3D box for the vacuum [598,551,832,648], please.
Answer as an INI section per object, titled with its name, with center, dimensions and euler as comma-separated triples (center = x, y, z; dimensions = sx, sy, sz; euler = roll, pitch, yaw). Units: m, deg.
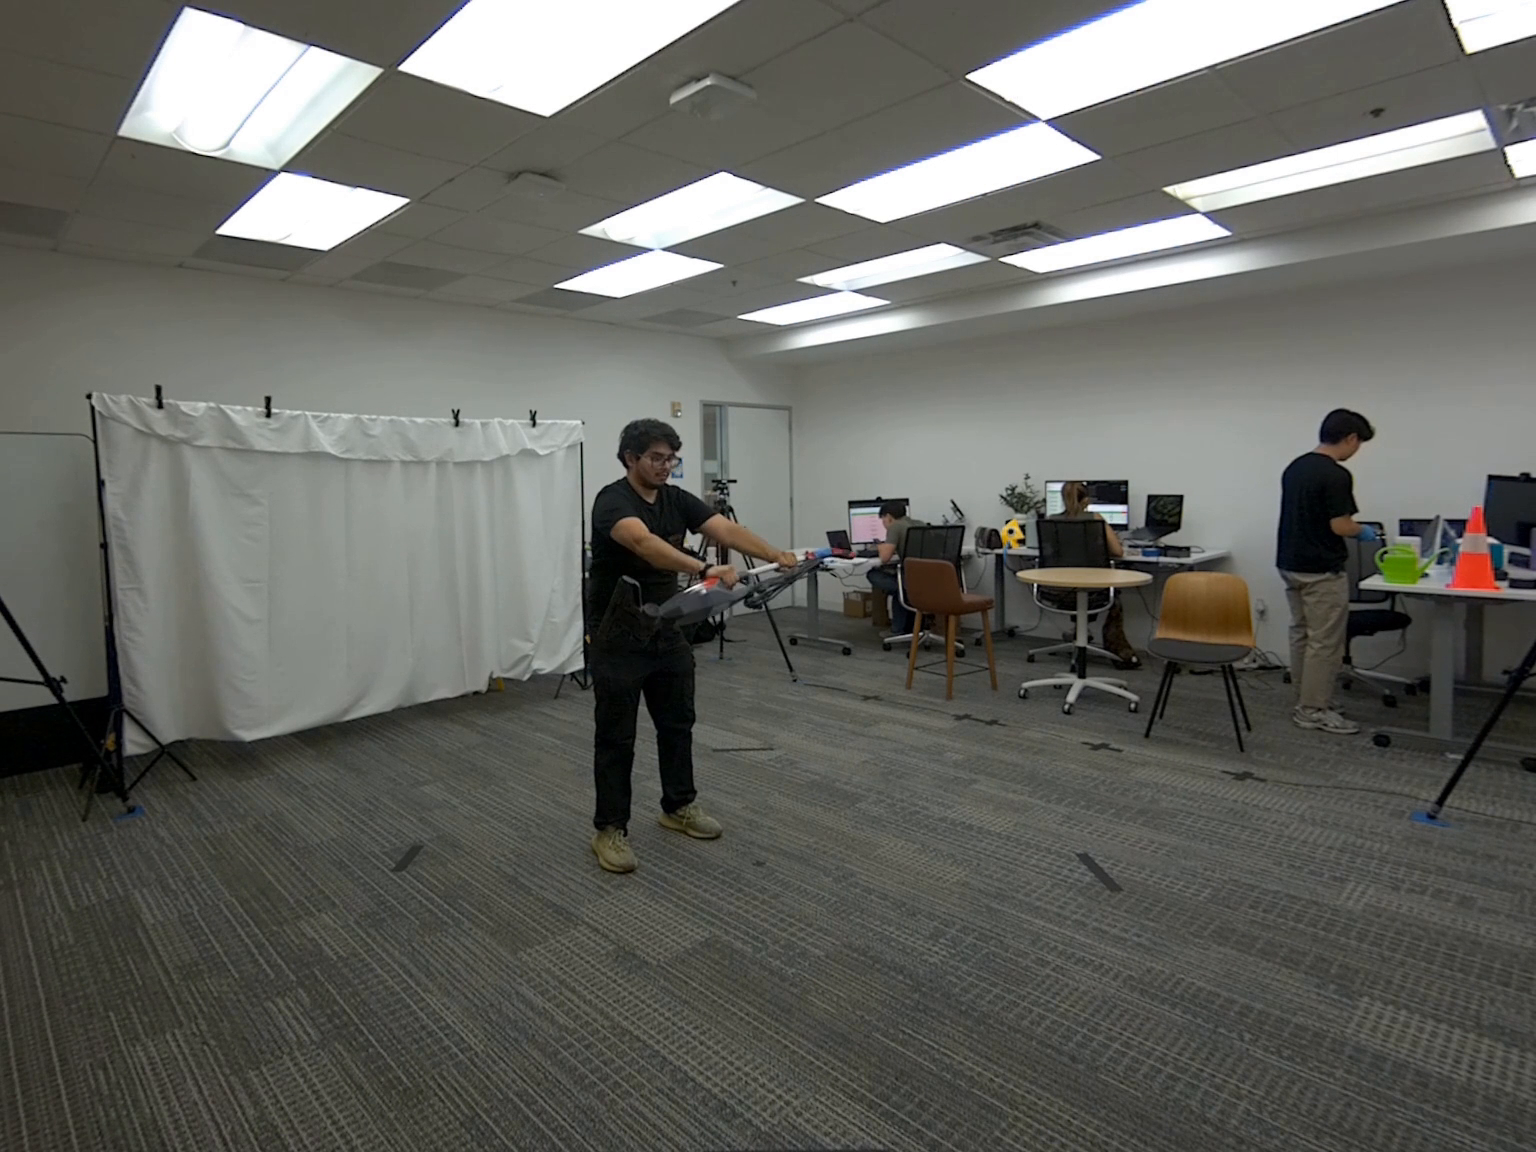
[vacuum]
center = -0.053, 0.026, 2.822
dimensions = 1.027, 0.250, 0.148
euler = -16, 54, -44
